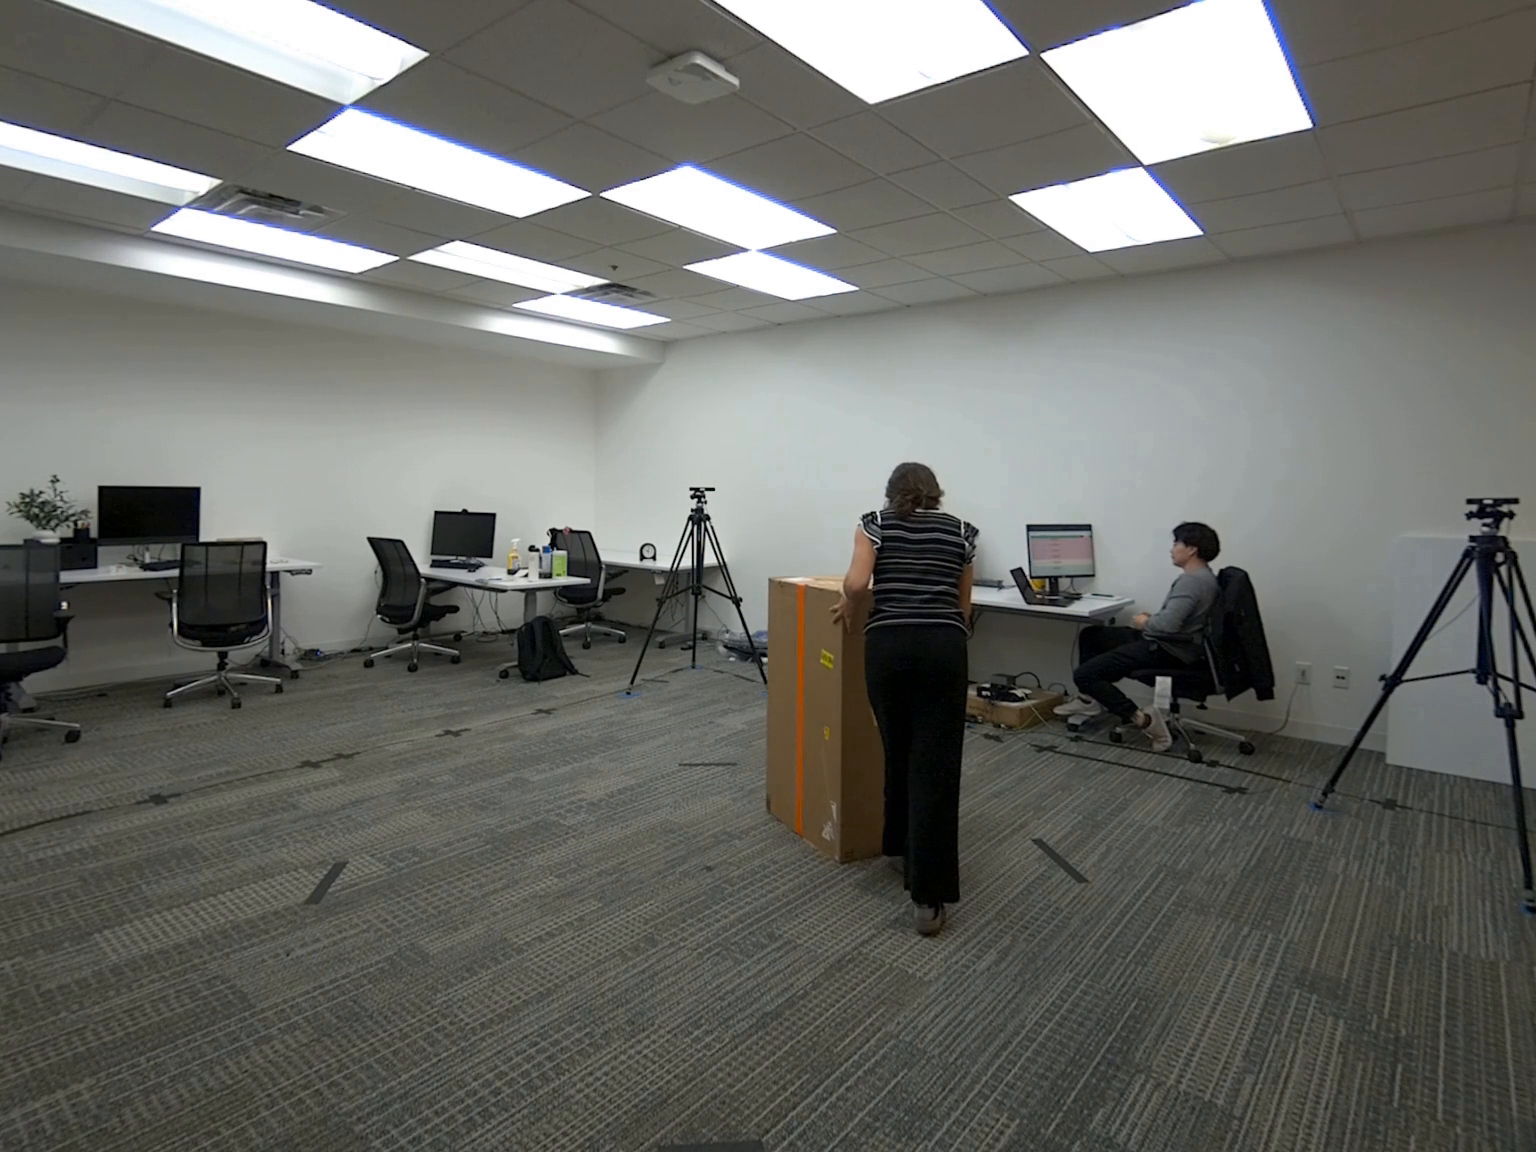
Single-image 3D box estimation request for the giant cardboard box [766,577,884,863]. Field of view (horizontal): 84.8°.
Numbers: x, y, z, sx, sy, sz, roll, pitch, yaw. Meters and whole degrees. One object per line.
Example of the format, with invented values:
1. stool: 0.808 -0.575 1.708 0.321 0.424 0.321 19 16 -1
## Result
1. giant cardboard box: 0.304 0.533 3.498 0.416 1.023 0.594 -1 3 -27
